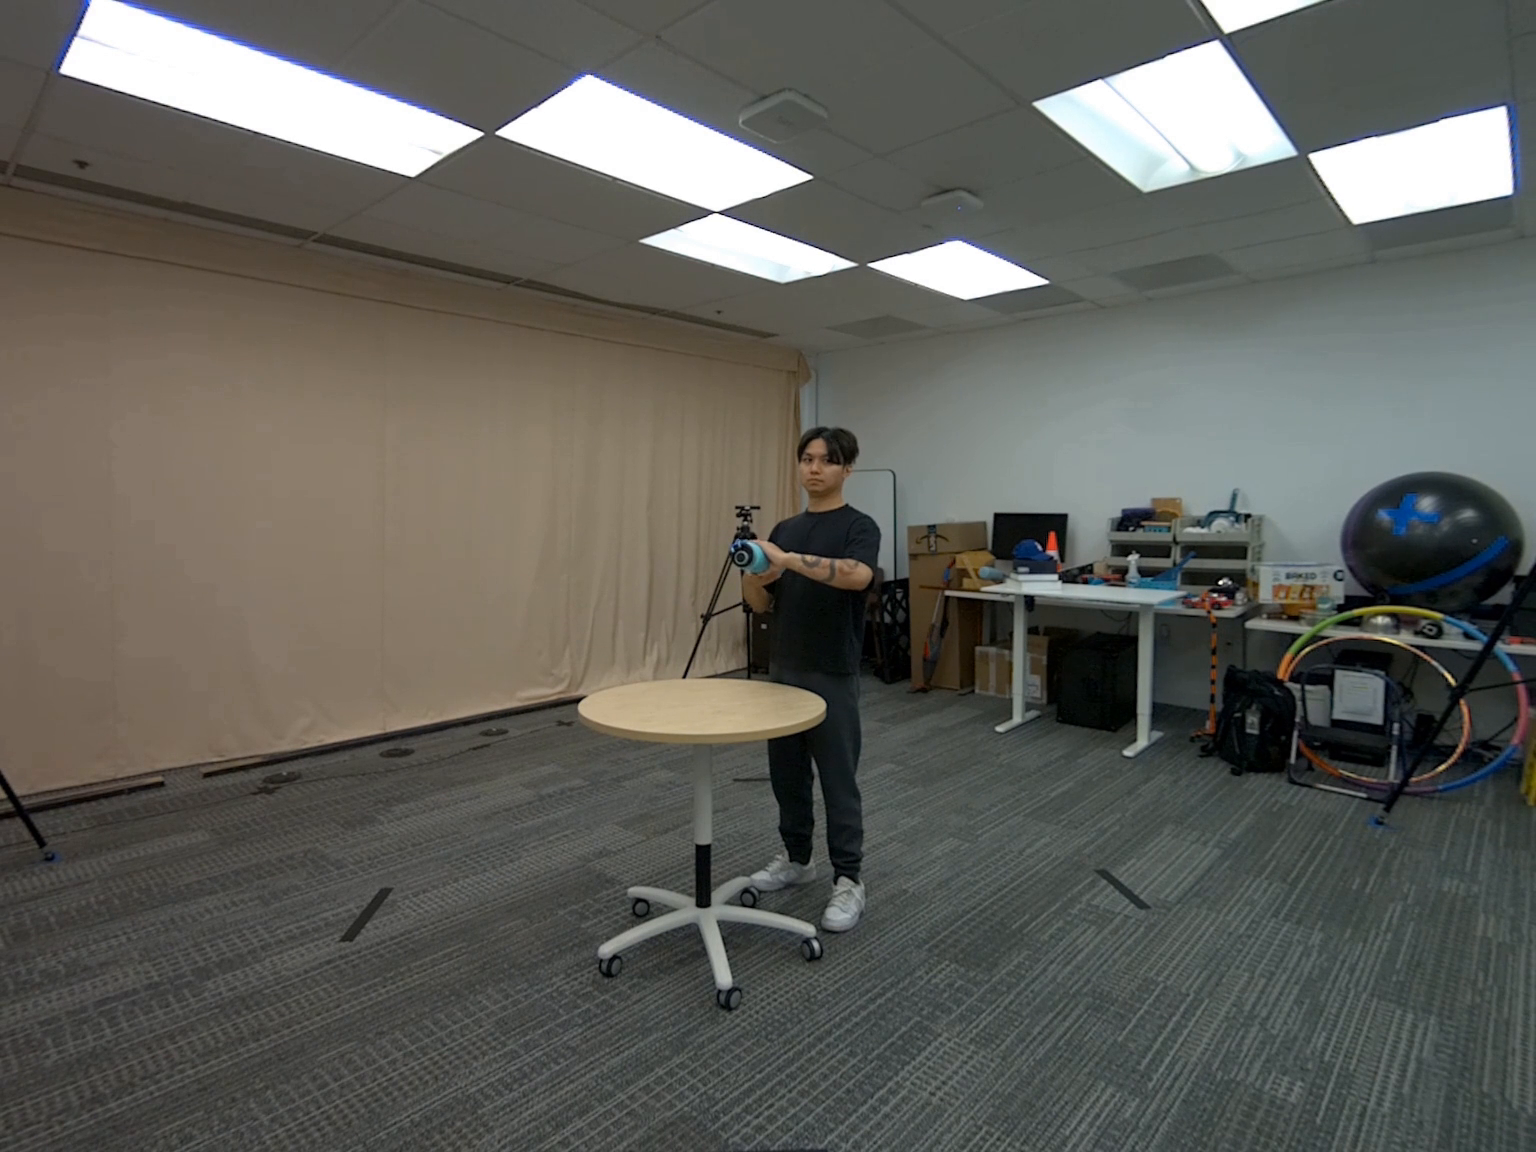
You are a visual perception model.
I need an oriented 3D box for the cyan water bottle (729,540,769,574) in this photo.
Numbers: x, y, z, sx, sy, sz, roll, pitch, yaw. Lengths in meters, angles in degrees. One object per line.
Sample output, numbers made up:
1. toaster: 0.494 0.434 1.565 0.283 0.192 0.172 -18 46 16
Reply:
1. cyan water bottle: -0.030 -0.055 2.732 0.095 0.092 0.275 2 -6 28
